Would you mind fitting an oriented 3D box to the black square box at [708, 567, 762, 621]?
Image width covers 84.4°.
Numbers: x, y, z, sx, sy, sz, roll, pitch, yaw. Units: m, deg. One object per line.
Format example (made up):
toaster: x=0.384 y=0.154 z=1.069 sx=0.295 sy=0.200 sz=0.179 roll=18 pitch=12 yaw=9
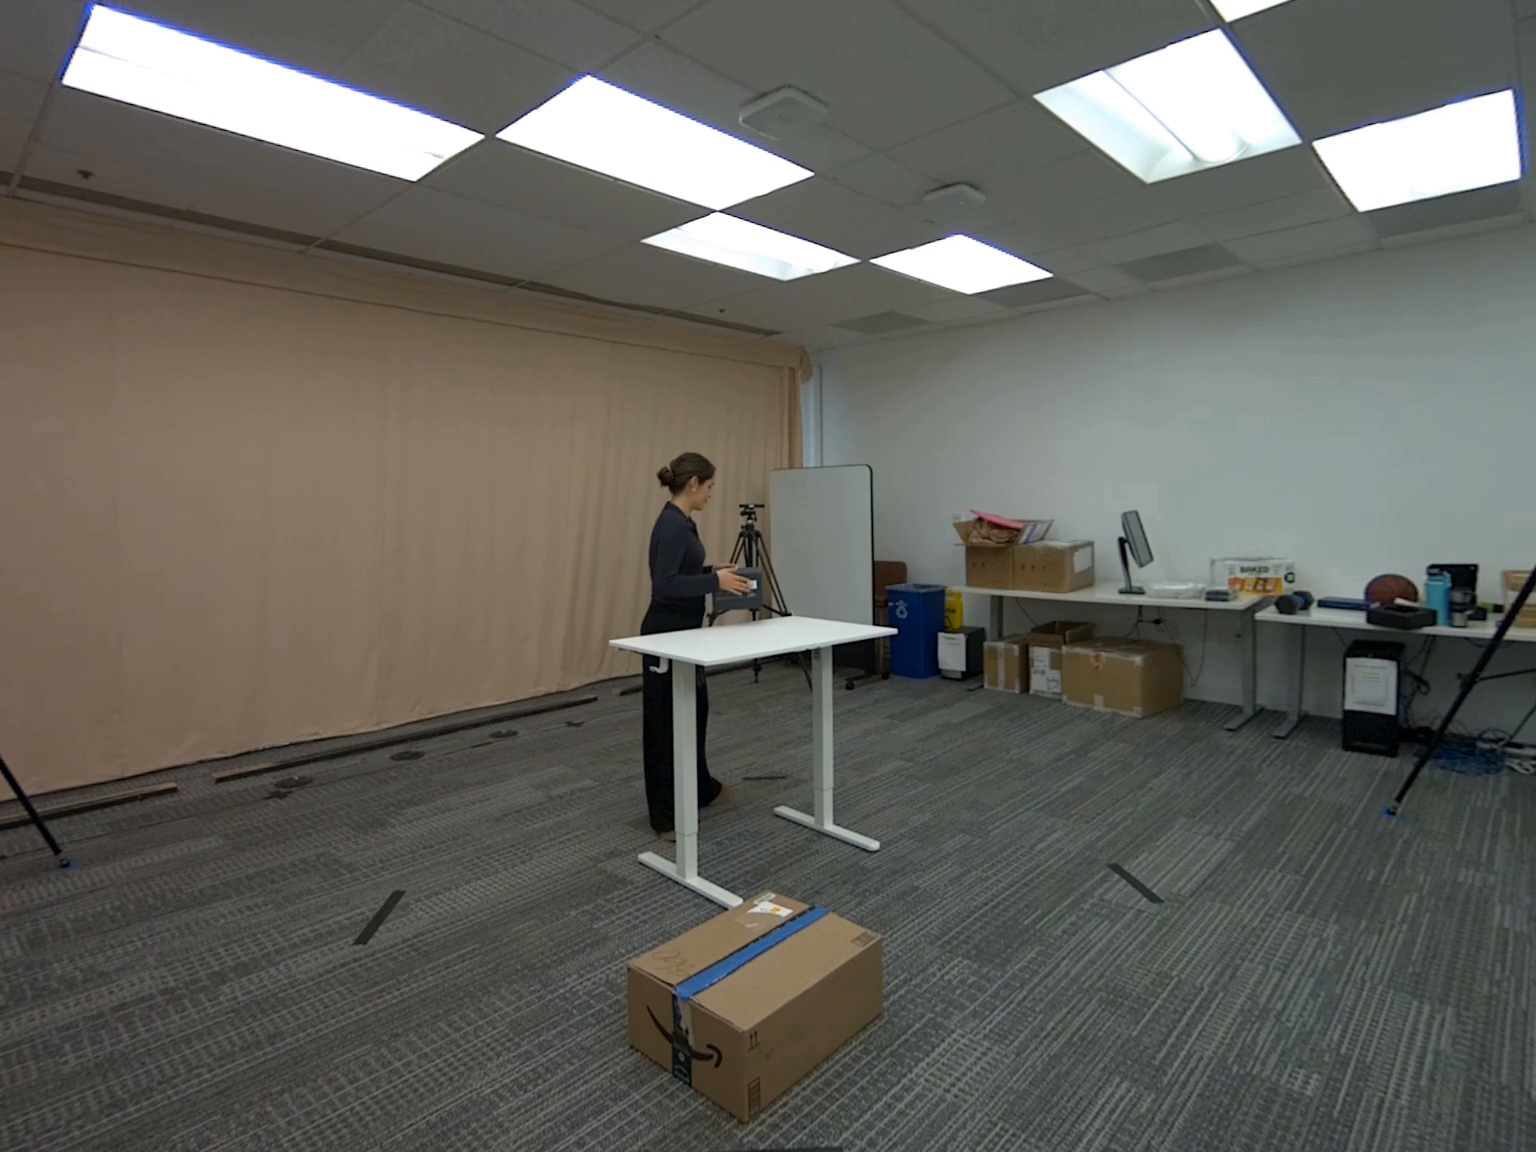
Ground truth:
black square box: x=-0.144 y=0.057 z=3.700 sx=0.217 sy=0.155 sz=0.229 roll=-2 pitch=8 yaw=-1
